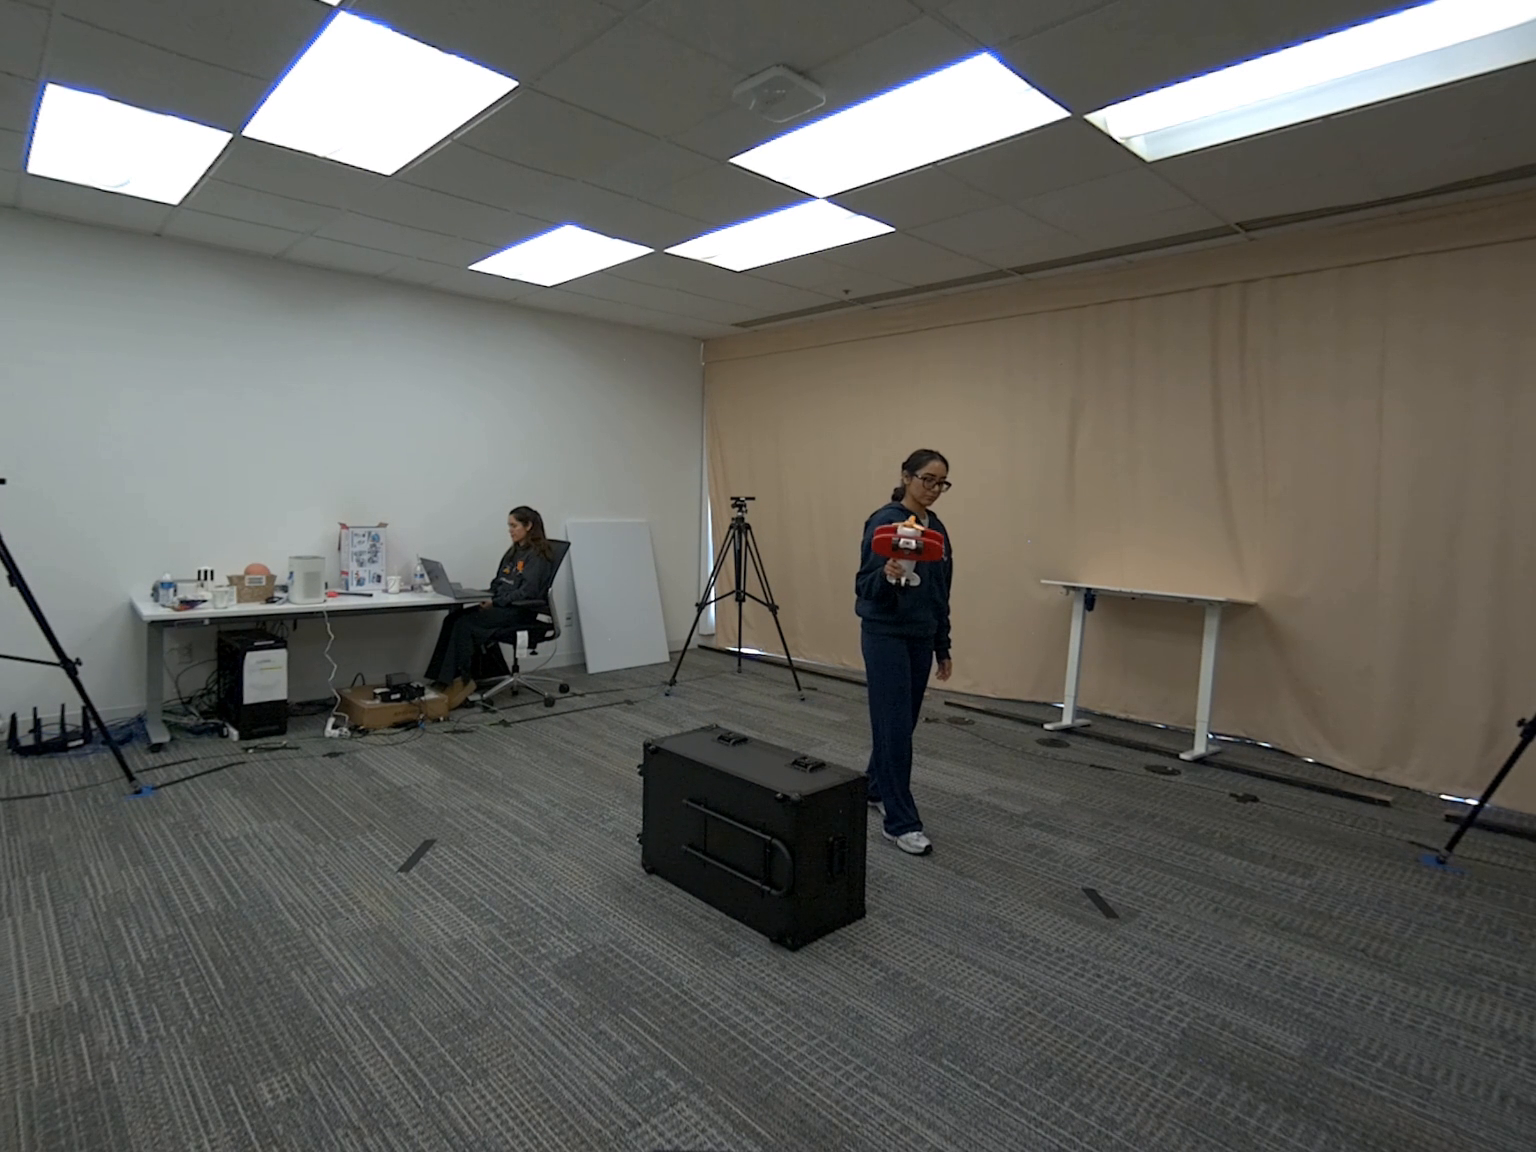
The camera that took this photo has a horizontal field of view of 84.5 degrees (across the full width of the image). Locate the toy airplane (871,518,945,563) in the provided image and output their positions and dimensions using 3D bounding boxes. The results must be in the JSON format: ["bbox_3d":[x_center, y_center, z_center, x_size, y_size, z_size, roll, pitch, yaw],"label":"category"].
[{"bbox_3d":[0.483,-0.088,3.136,0.249,0.258,0.158,27,44,-6],"label":"toy airplane"}]
